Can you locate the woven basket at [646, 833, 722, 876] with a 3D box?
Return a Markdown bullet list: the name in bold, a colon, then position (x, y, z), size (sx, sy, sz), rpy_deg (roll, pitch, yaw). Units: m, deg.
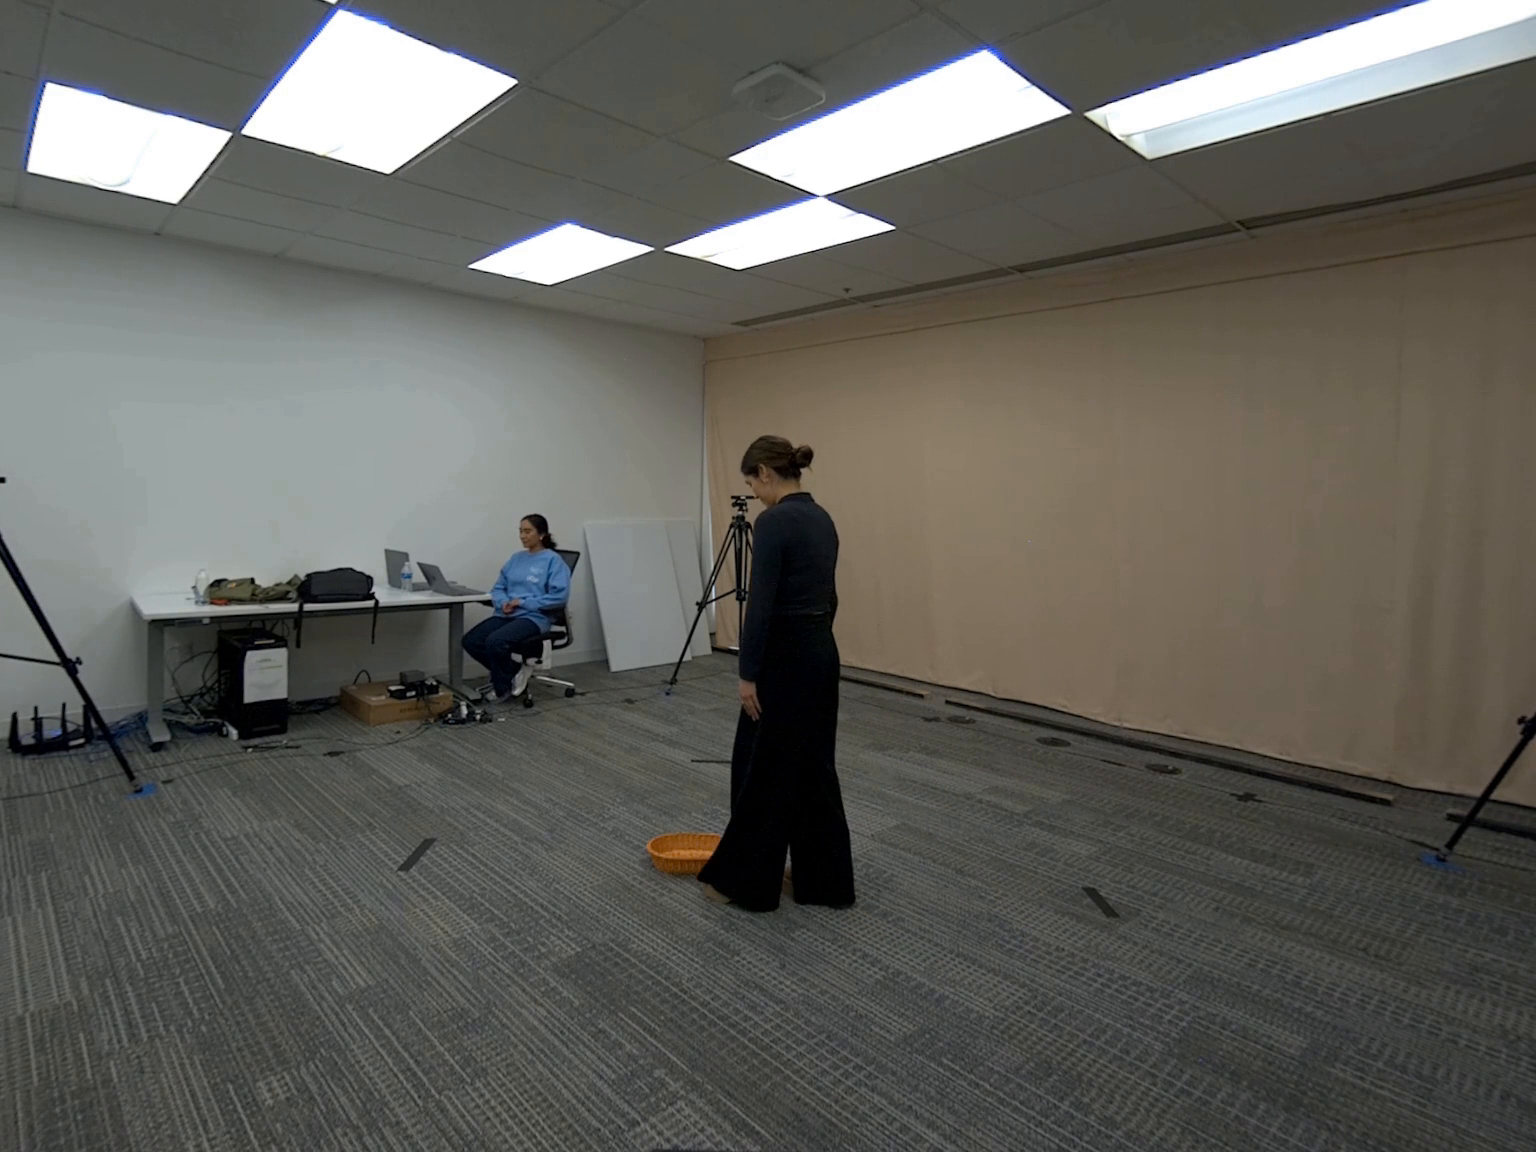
- **woven basket**: position (-0.294, 1.050, 3.193), size (0.349, 0.073, 0.254), rpy_deg (1, 4, -4)
